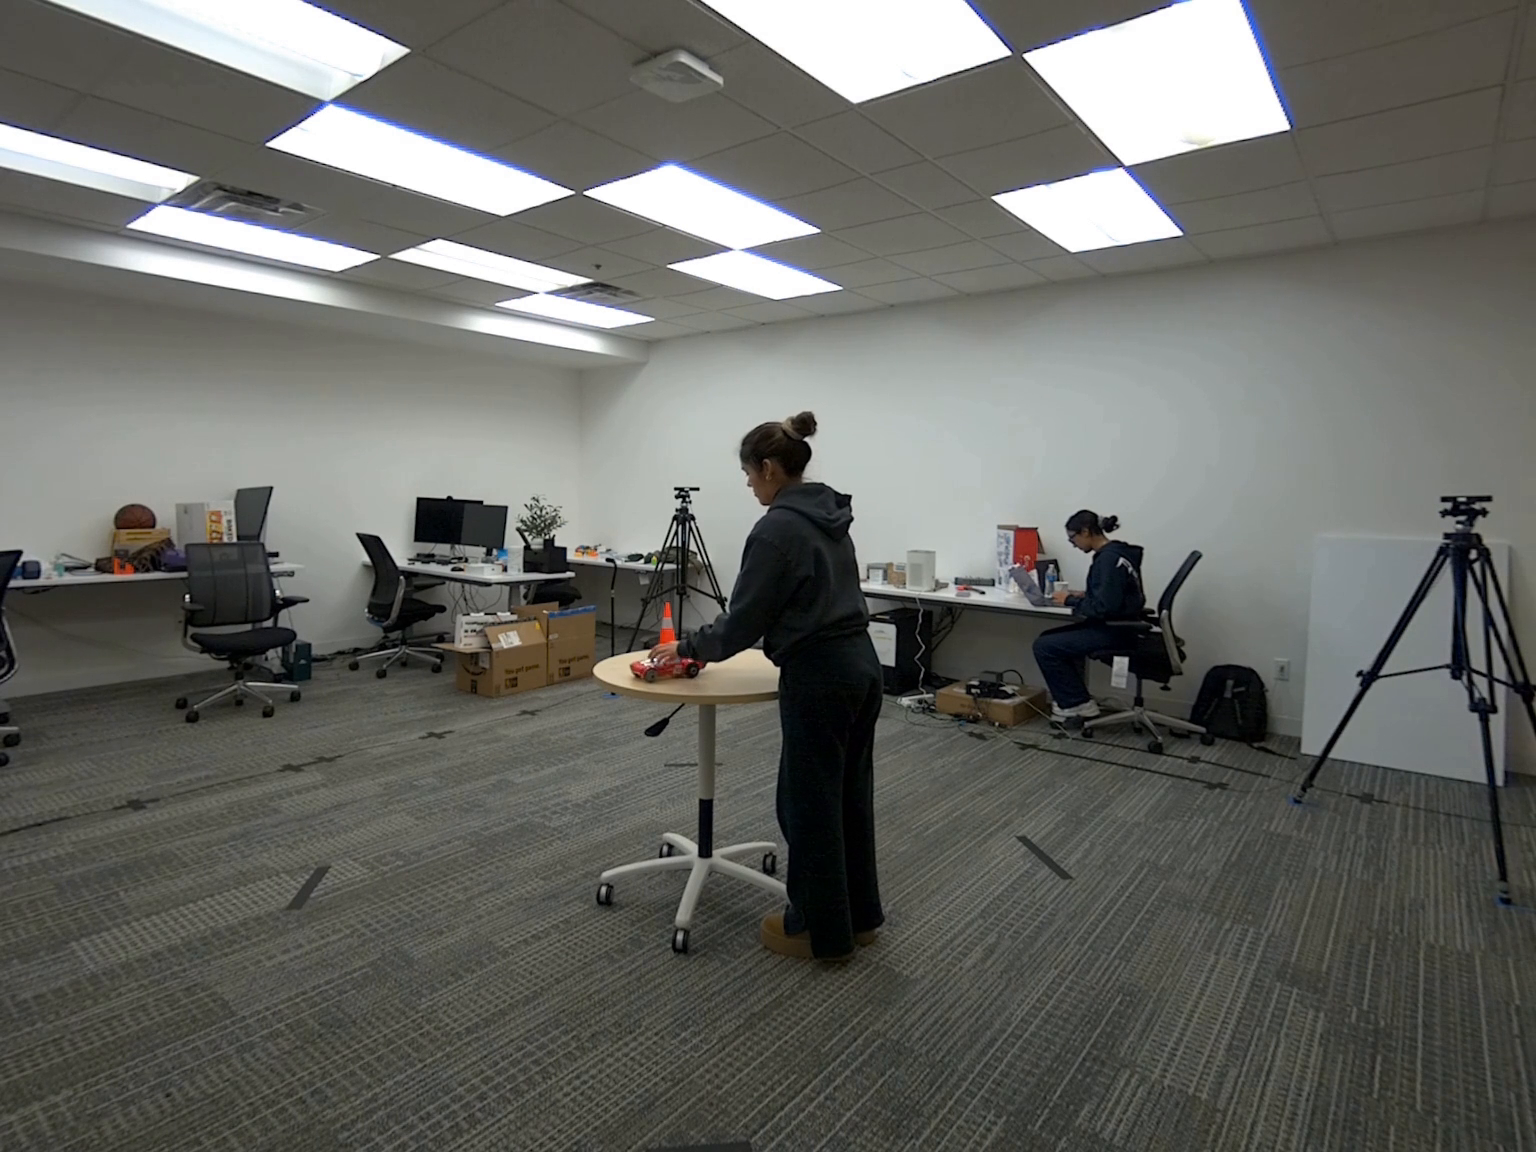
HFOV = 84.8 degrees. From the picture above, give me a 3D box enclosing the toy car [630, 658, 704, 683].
[{"bbox_3d":[-0.312,0.290,2.726,0.249,0.082,0.134,-15,12,-28],"label":"toy car"}]
